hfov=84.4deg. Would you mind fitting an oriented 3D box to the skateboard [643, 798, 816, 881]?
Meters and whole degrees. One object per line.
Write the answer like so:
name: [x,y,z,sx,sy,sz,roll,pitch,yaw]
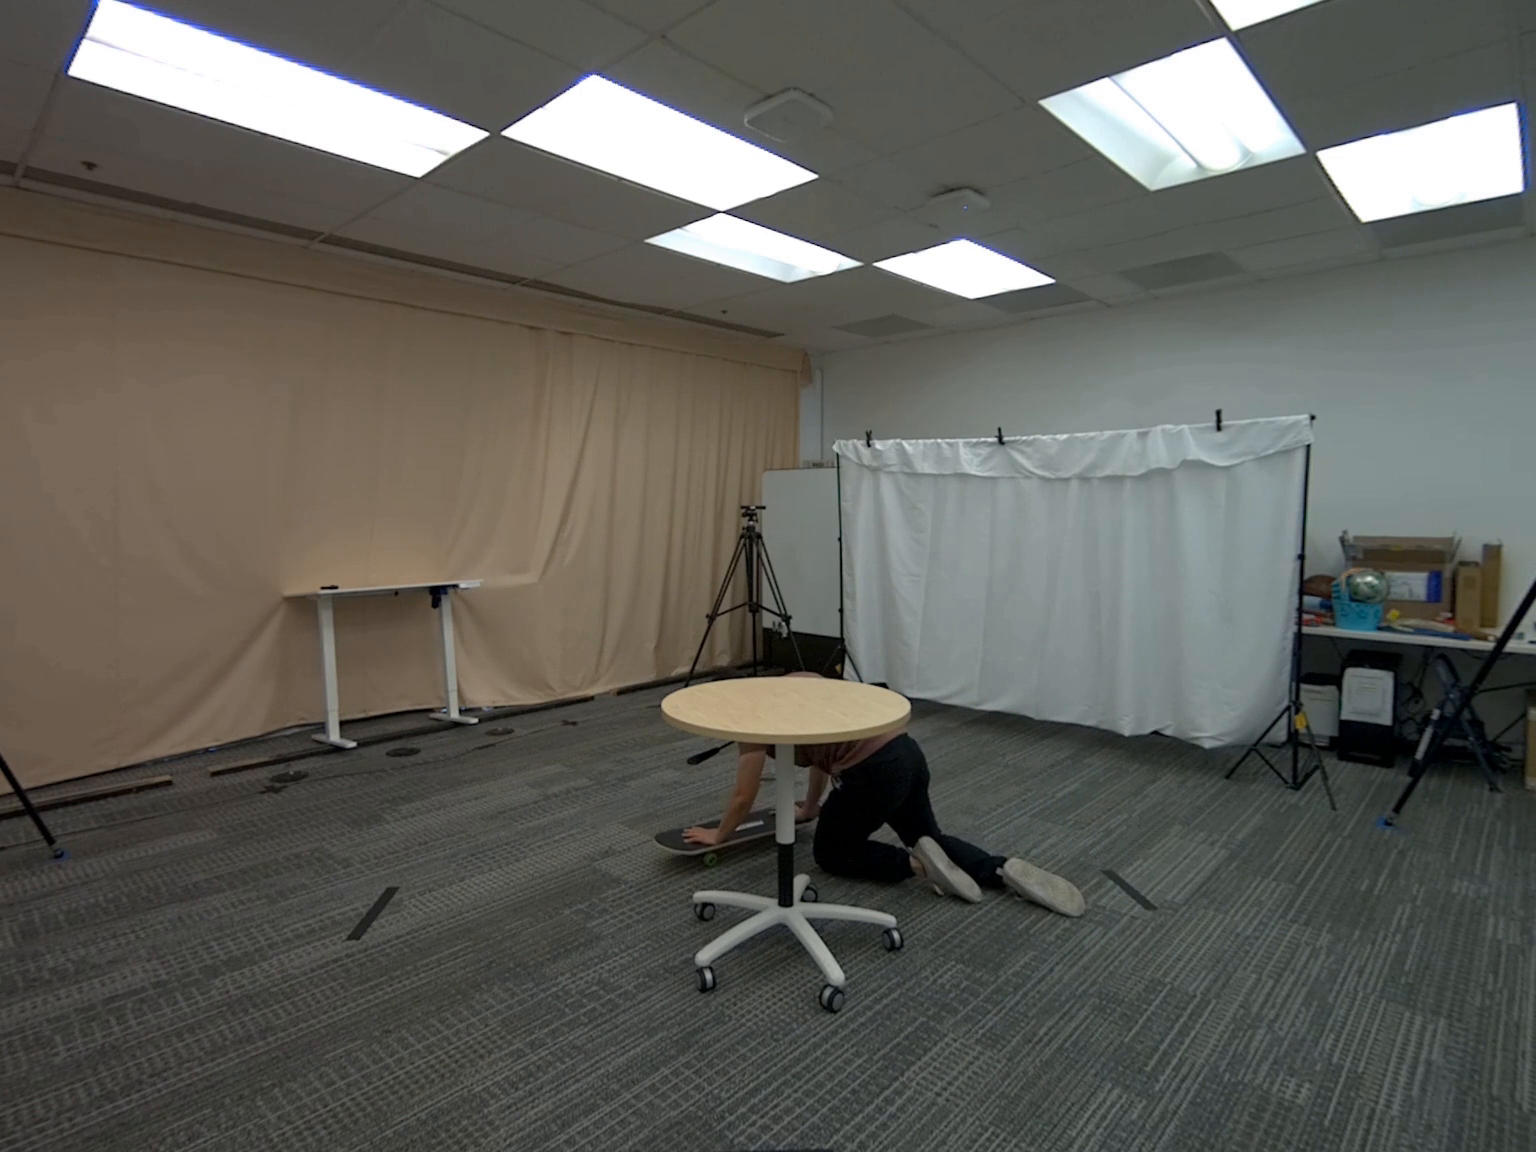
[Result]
skateboard: [-0.111,1.051,3.429,0.764,0.110,0.199,-3,7,-32]
